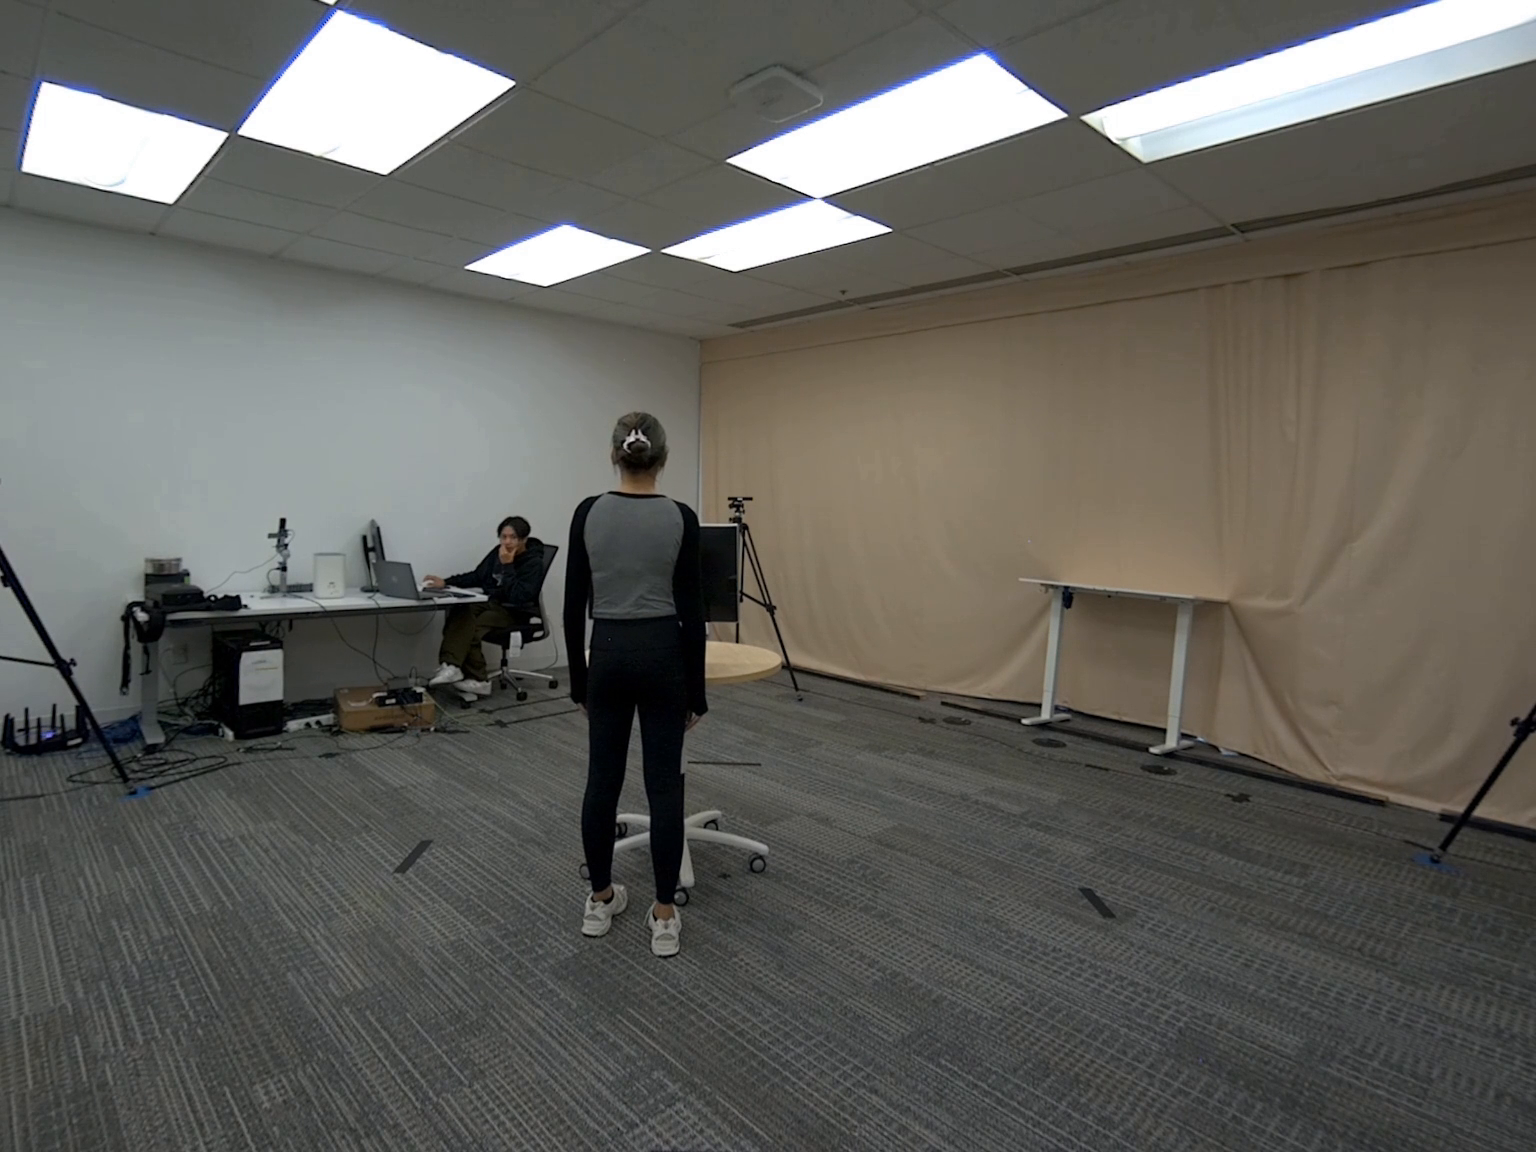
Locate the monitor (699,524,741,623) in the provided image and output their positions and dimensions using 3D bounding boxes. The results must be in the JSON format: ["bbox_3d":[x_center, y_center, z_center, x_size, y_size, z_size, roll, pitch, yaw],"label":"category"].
[{"bbox_3d":[-0.380,0.076,2.991,0.541,0.522,0.186,2,2,4],"label":"monitor"}]
